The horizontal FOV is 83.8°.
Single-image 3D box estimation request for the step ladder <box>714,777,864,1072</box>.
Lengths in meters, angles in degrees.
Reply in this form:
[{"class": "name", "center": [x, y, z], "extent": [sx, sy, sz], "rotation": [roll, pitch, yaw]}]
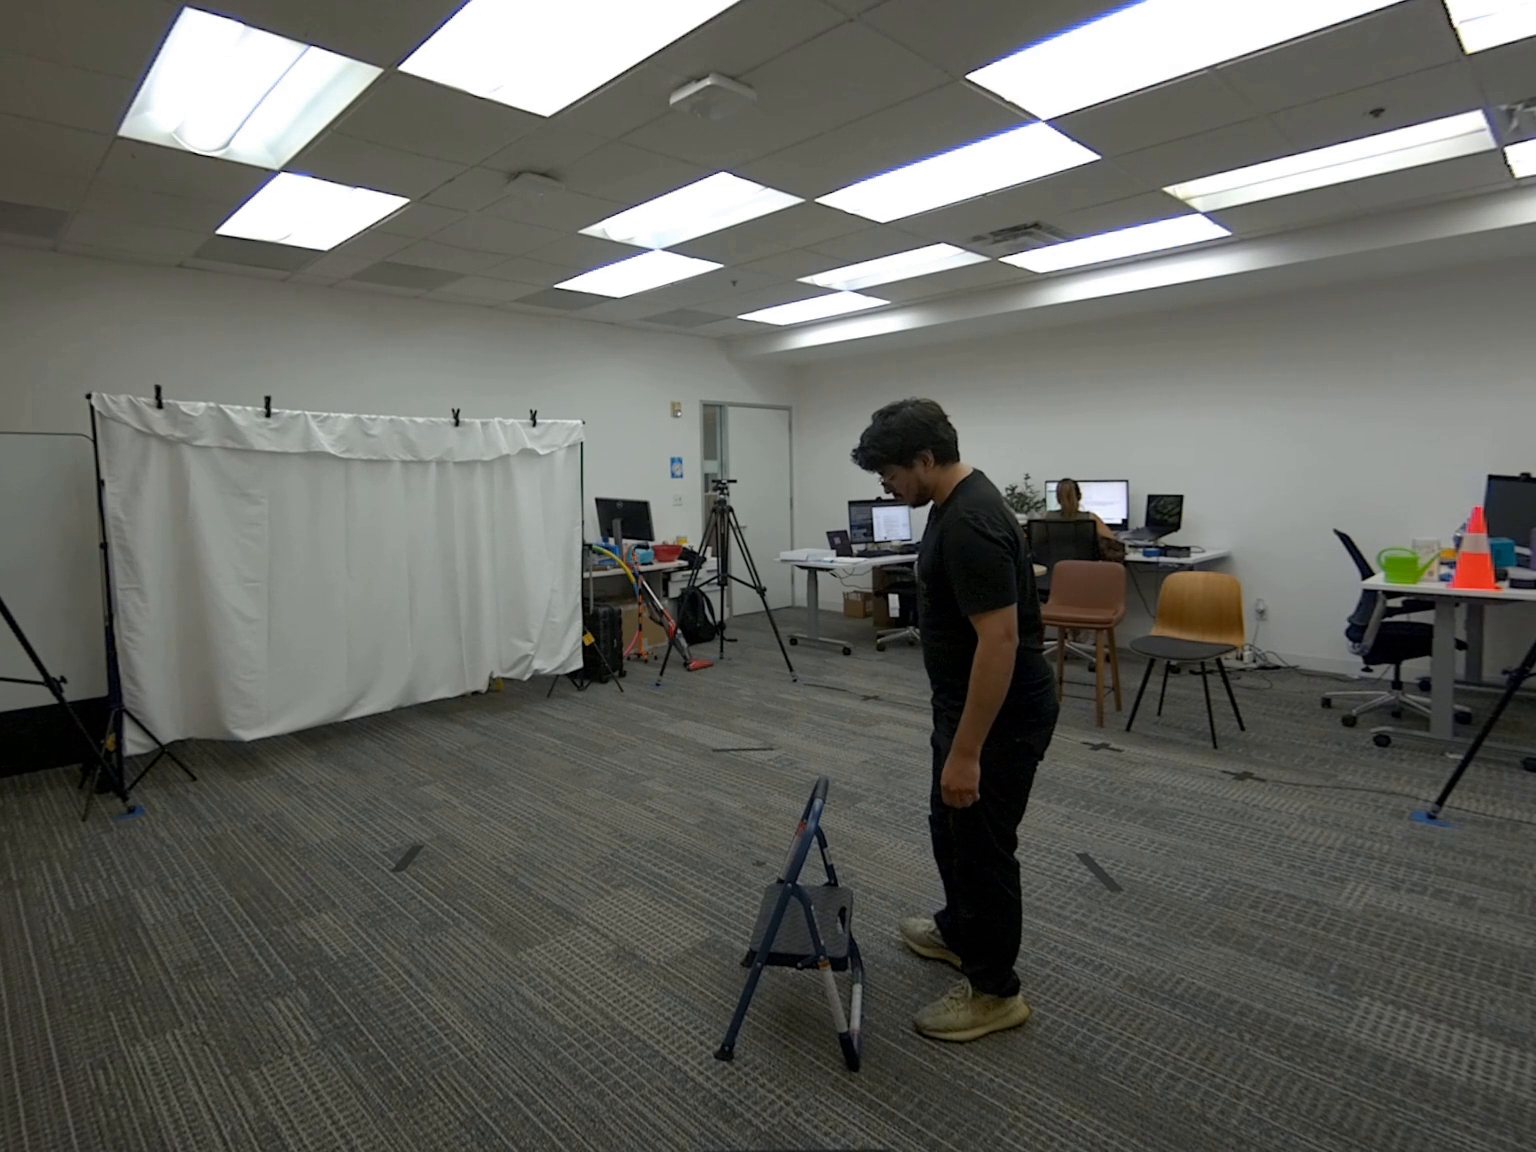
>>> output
[{"class": "step ladder", "center": [0.082, 0.853, 2.215], "extent": [0.353, 0.604, 0.428], "rotation": [0, 5, 9]}]
